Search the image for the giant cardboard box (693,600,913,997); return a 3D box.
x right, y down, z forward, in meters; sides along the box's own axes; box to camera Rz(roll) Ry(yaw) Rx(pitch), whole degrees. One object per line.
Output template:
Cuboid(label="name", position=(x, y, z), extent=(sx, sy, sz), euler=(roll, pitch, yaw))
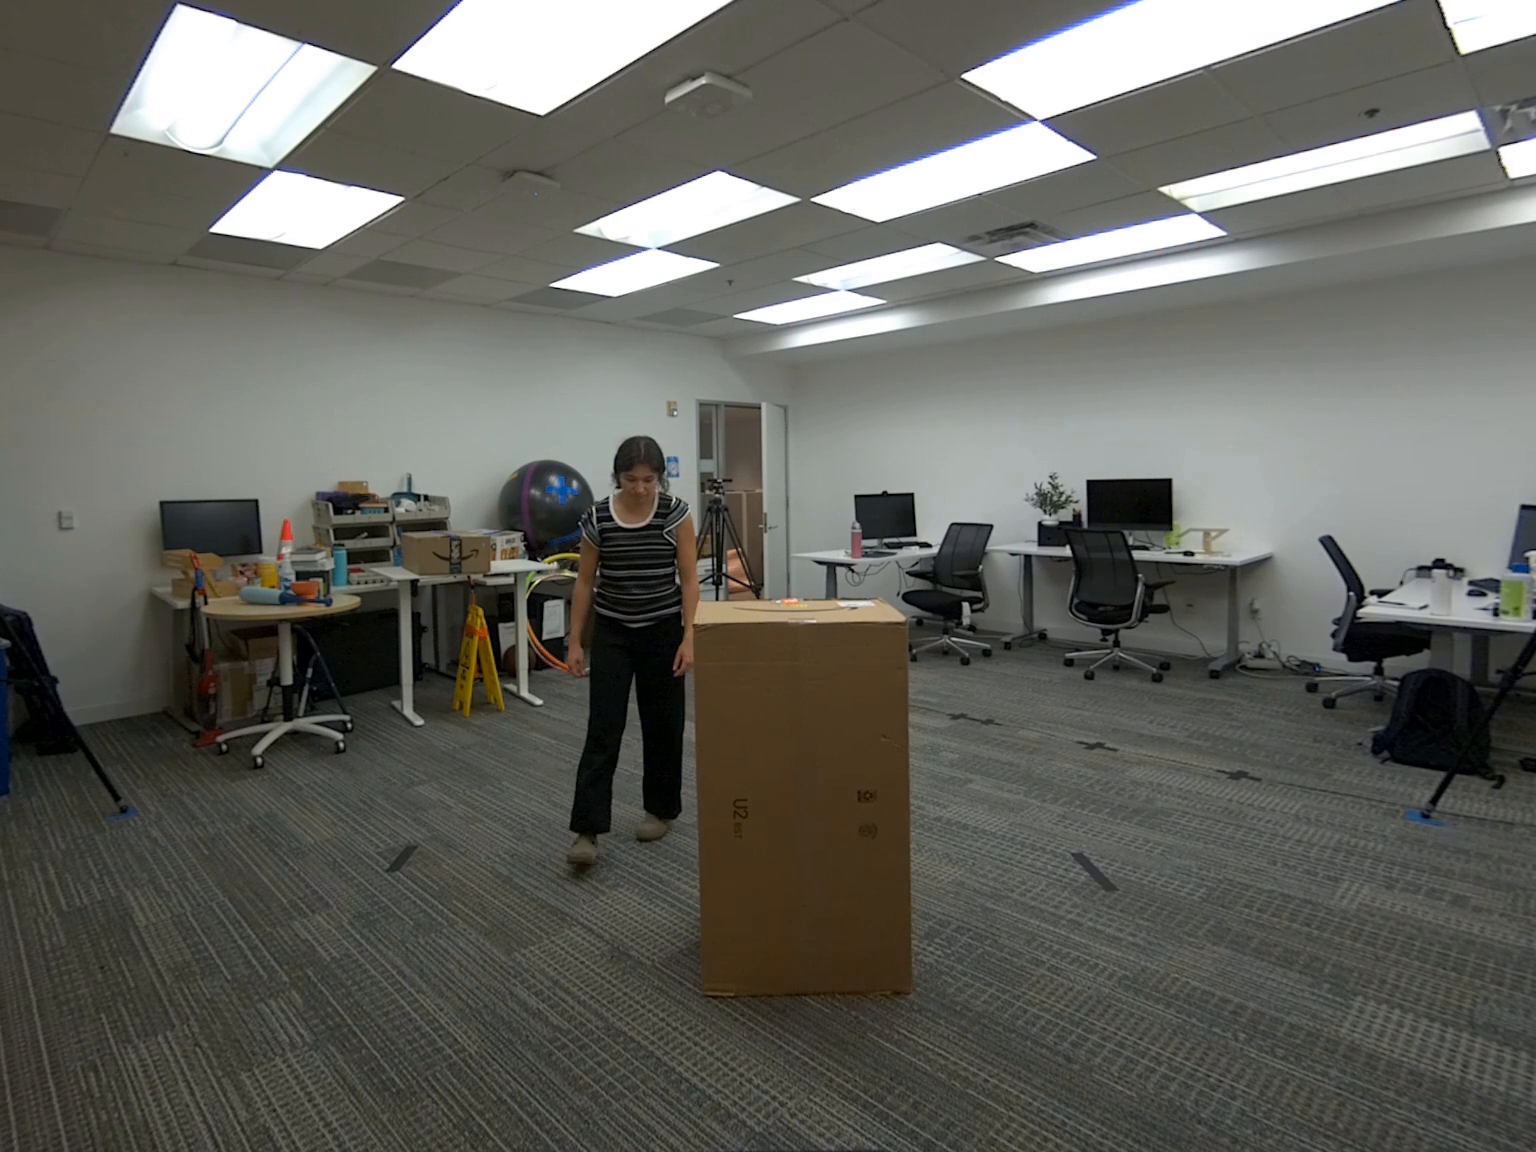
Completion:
Cuboid(label="giant cardboard box", position=(0.089, 0.603, 2.488), extent=(0.578, 1.022, 0.427), euler=(-1, 4, 0))
